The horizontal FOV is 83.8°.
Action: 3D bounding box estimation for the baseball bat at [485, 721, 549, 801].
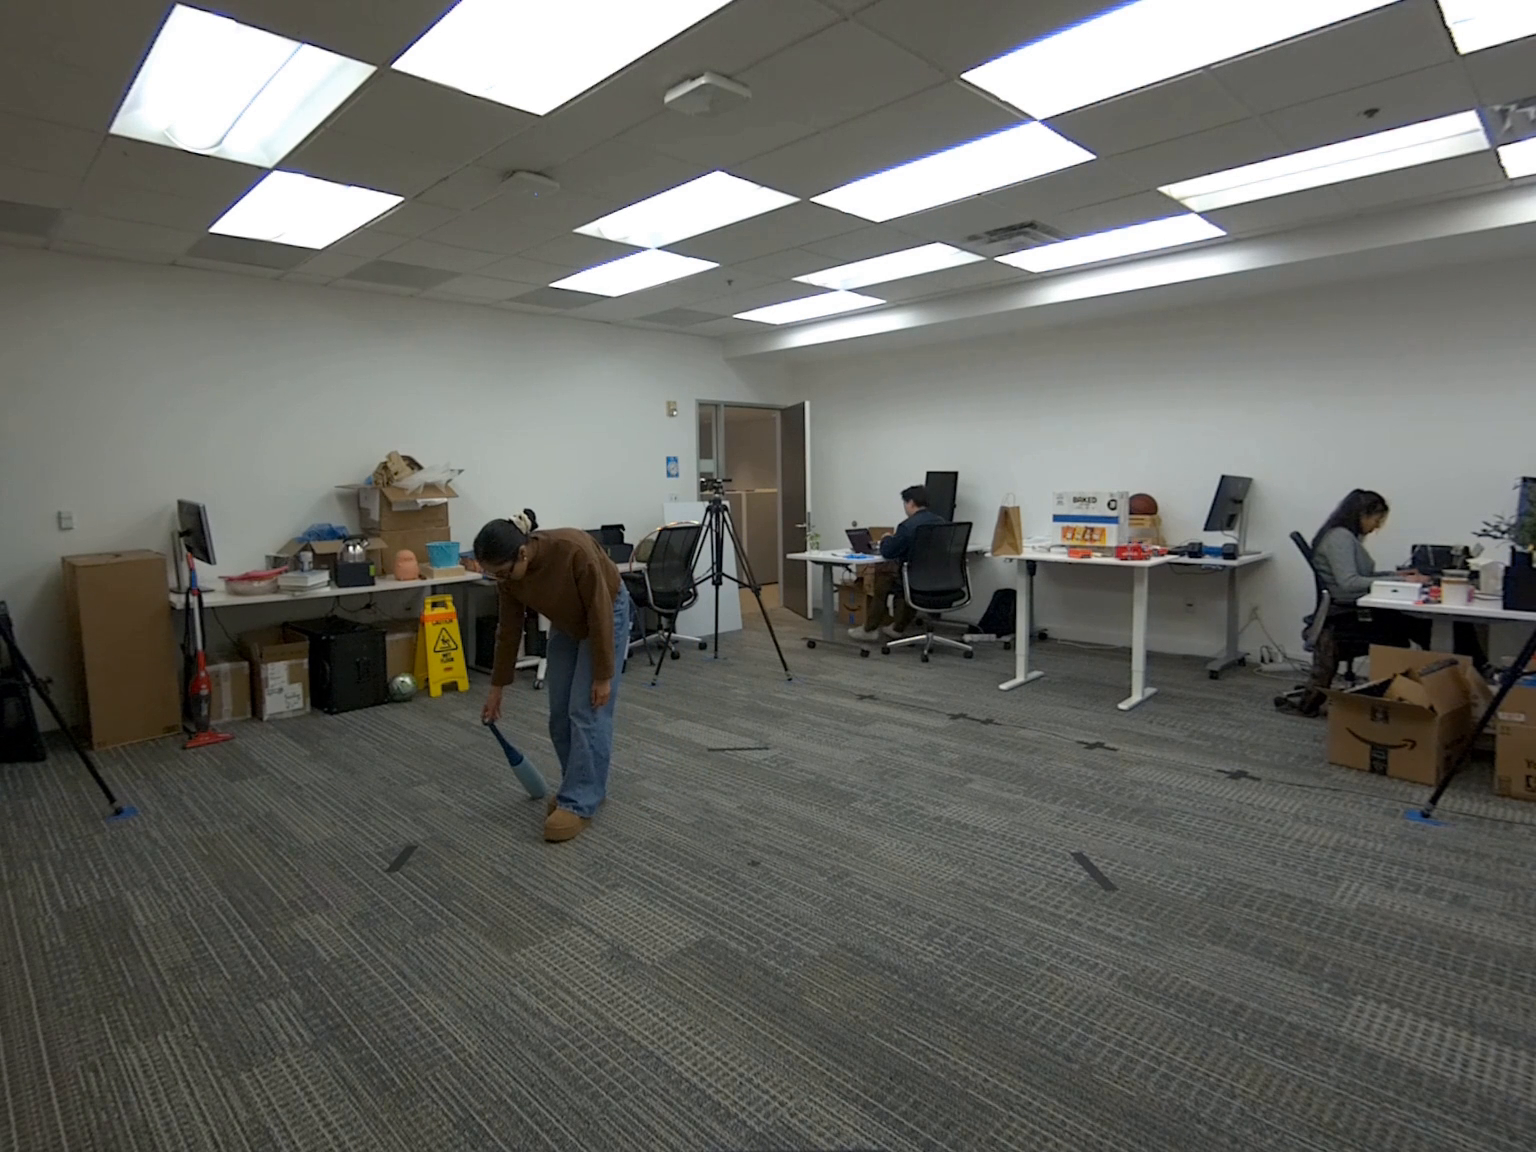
[{"bbox_3d":[-1.081,0.779,3.663,0.090,0.524,0.091,-12,41,9],"label":"baseball bat"}]
